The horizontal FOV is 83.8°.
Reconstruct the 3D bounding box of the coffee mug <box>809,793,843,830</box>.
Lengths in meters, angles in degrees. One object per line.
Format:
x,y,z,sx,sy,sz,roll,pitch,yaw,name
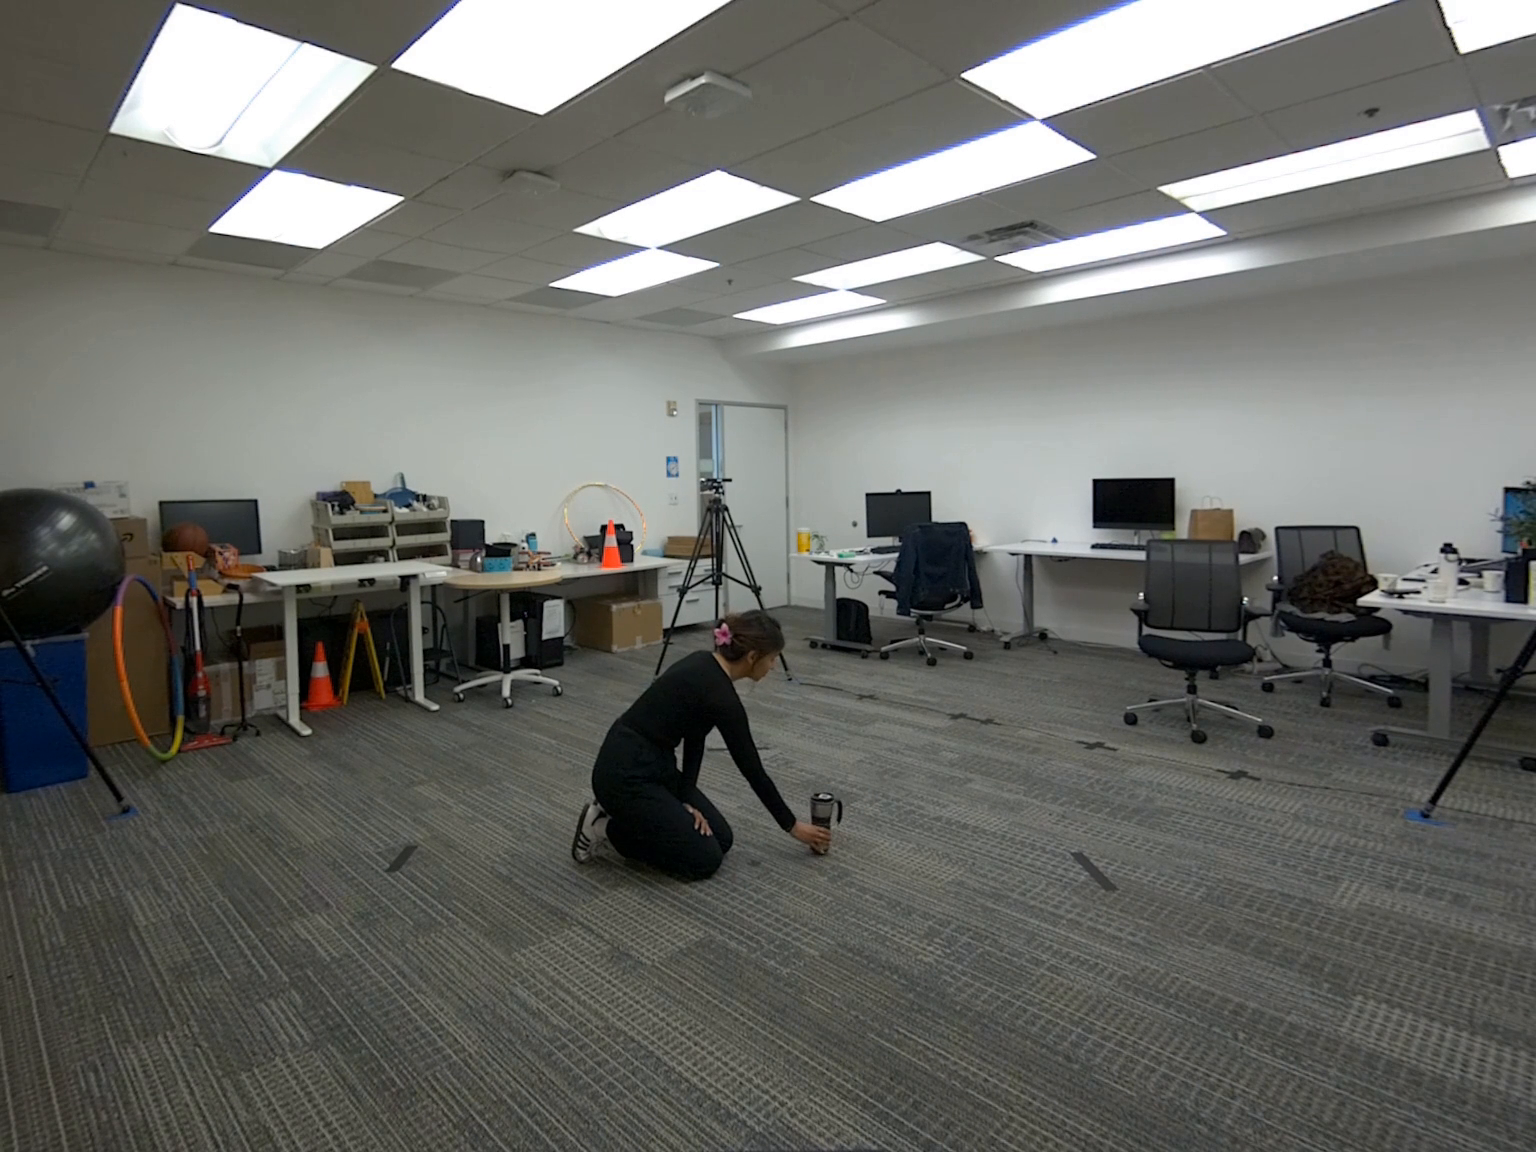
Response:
0.221,0.904,3.174,0.123,0.203,0.087,0,1,7,coffee mug
